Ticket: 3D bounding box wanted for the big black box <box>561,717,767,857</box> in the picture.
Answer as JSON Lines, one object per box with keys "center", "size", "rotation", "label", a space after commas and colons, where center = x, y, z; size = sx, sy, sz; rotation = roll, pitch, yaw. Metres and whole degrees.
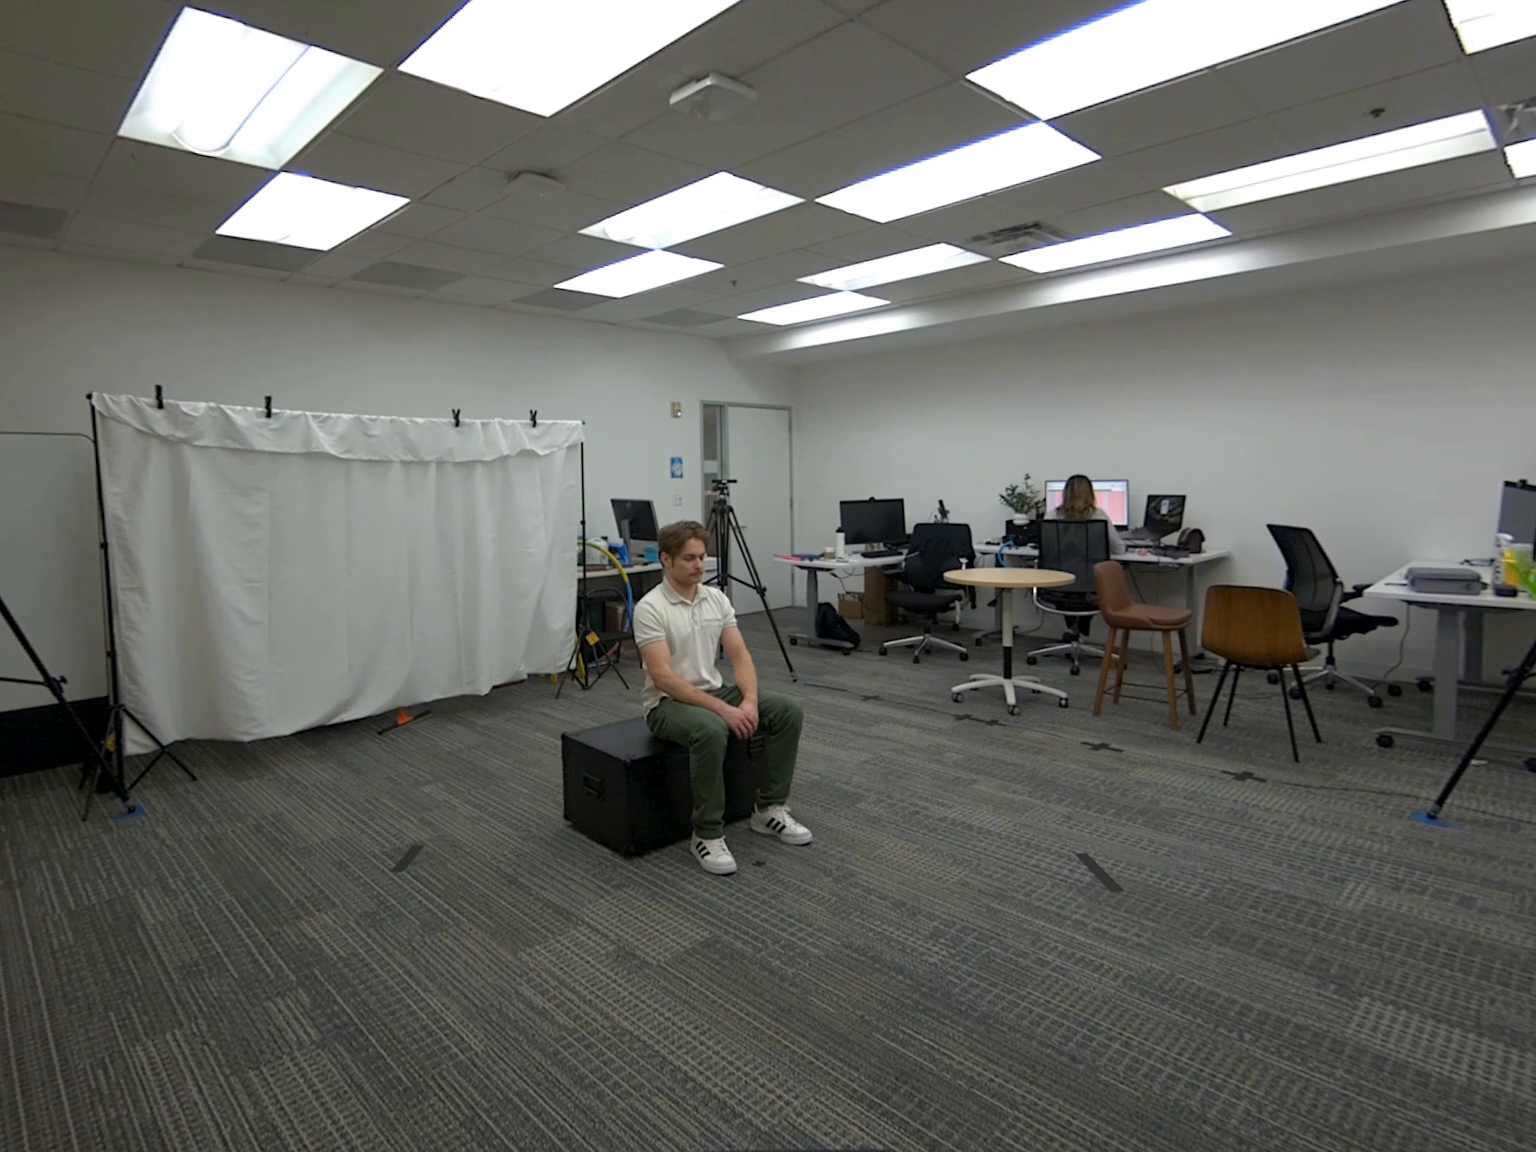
{"center": [-0.364, 0.809, 3.579], "size": [0.846, 0.384, 0.539], "rotation": [-6, 6, -41], "label": "big black box"}
